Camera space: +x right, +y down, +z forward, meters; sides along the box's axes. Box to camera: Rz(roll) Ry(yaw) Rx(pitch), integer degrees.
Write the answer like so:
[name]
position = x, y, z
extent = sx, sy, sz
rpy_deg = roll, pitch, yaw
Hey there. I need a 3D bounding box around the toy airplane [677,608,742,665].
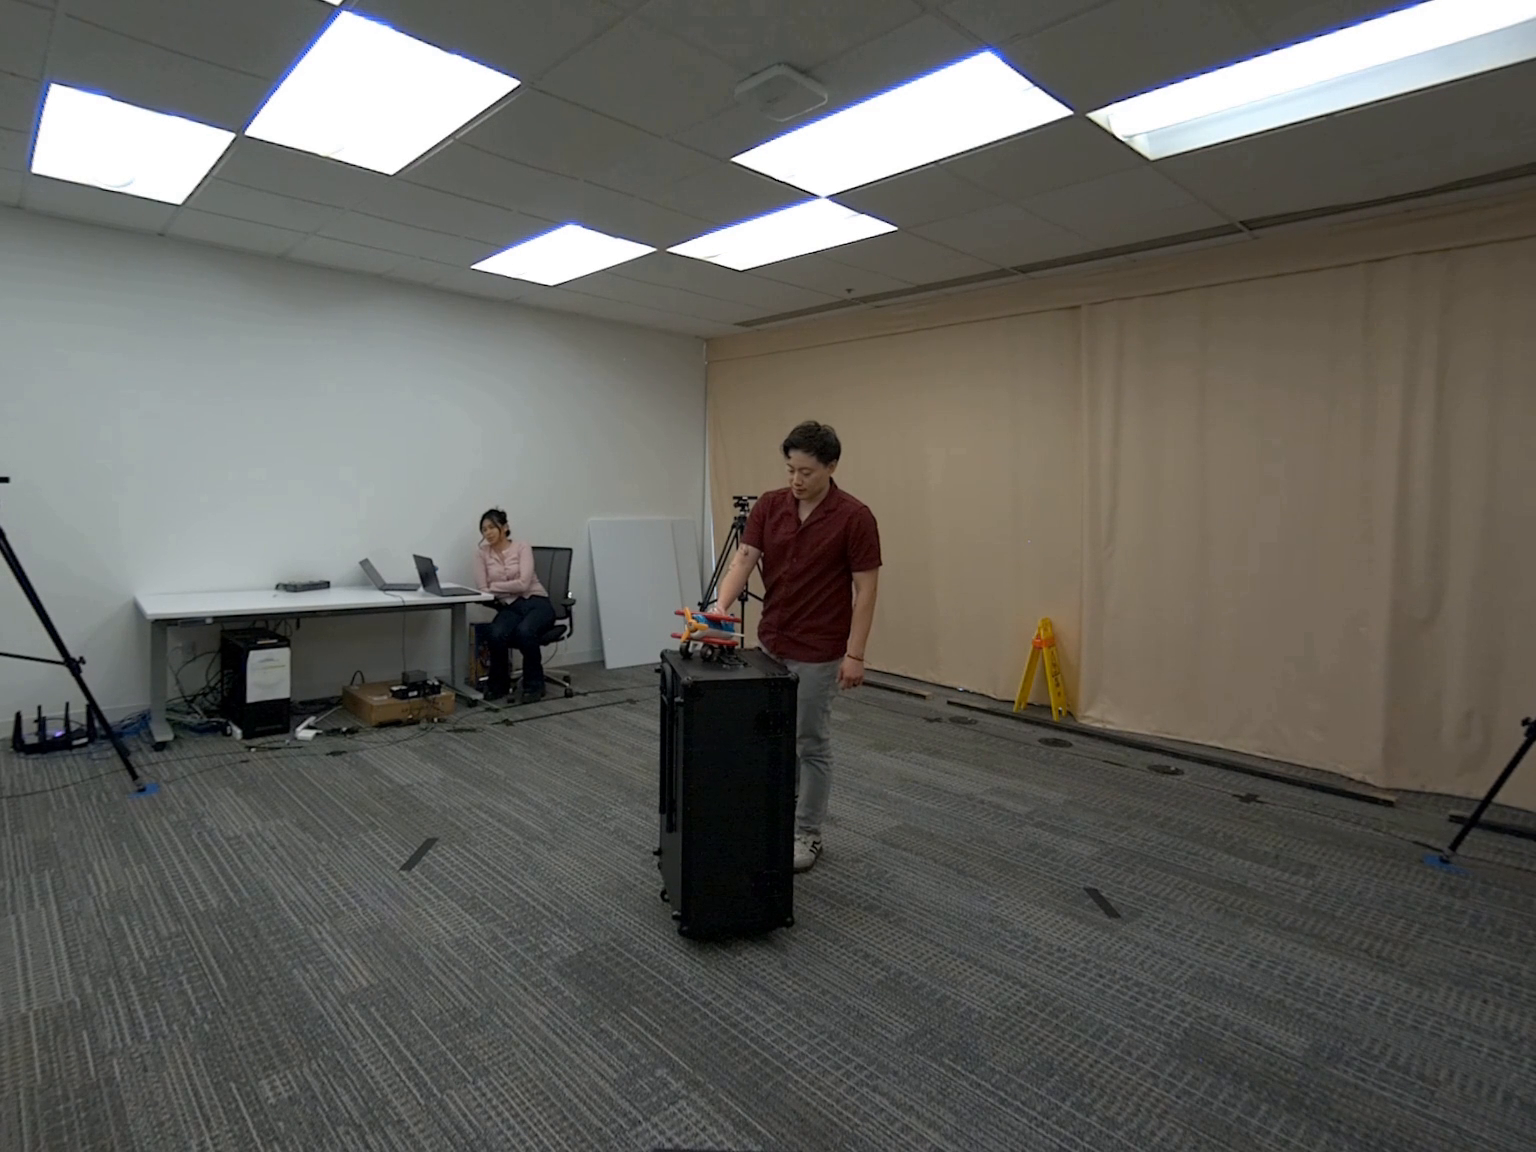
[toy airplane]
position = -0.215, 0.190, 2.888
extent = 0.252, 0.156, 0.259
rpy_deg = 2, 6, 4
